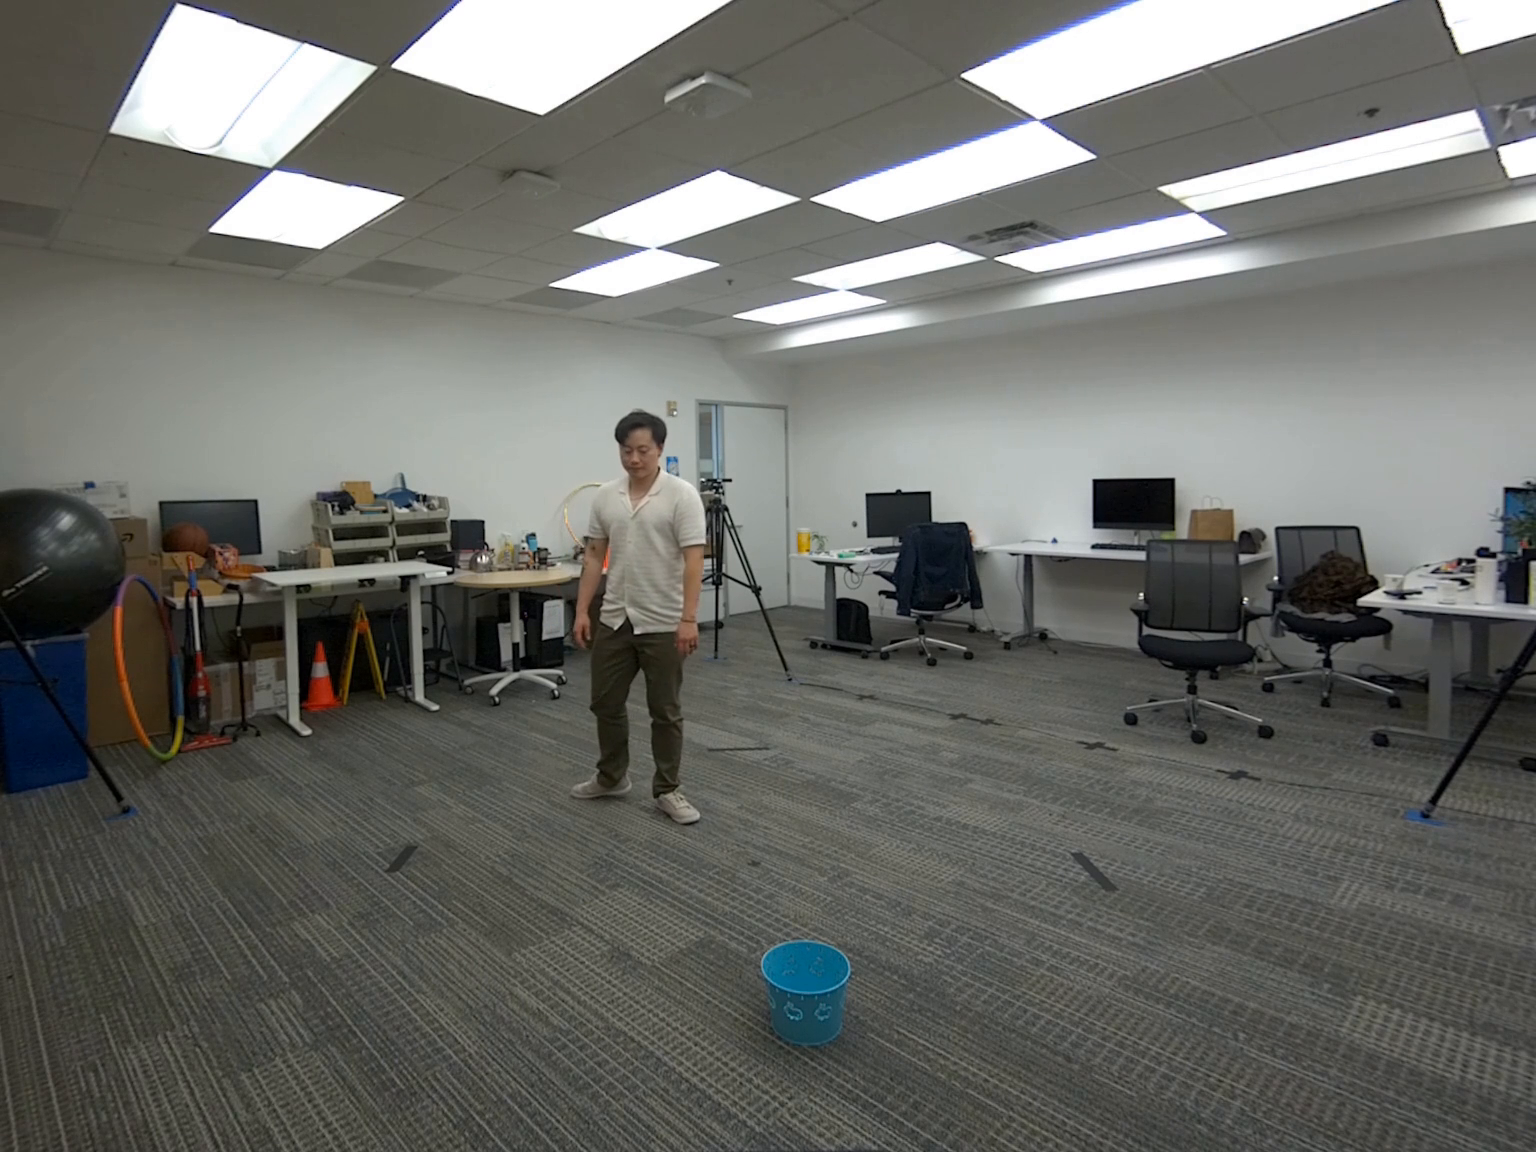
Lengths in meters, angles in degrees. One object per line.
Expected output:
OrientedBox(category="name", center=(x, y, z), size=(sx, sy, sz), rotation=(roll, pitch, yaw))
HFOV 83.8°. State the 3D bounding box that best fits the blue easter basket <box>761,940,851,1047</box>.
OrientedBox(category="blue easter basket", center=(0.111, 1.074, 2.197), size=(0.243, 0.155, 0.245), rotation=(-1, 5, -2))
